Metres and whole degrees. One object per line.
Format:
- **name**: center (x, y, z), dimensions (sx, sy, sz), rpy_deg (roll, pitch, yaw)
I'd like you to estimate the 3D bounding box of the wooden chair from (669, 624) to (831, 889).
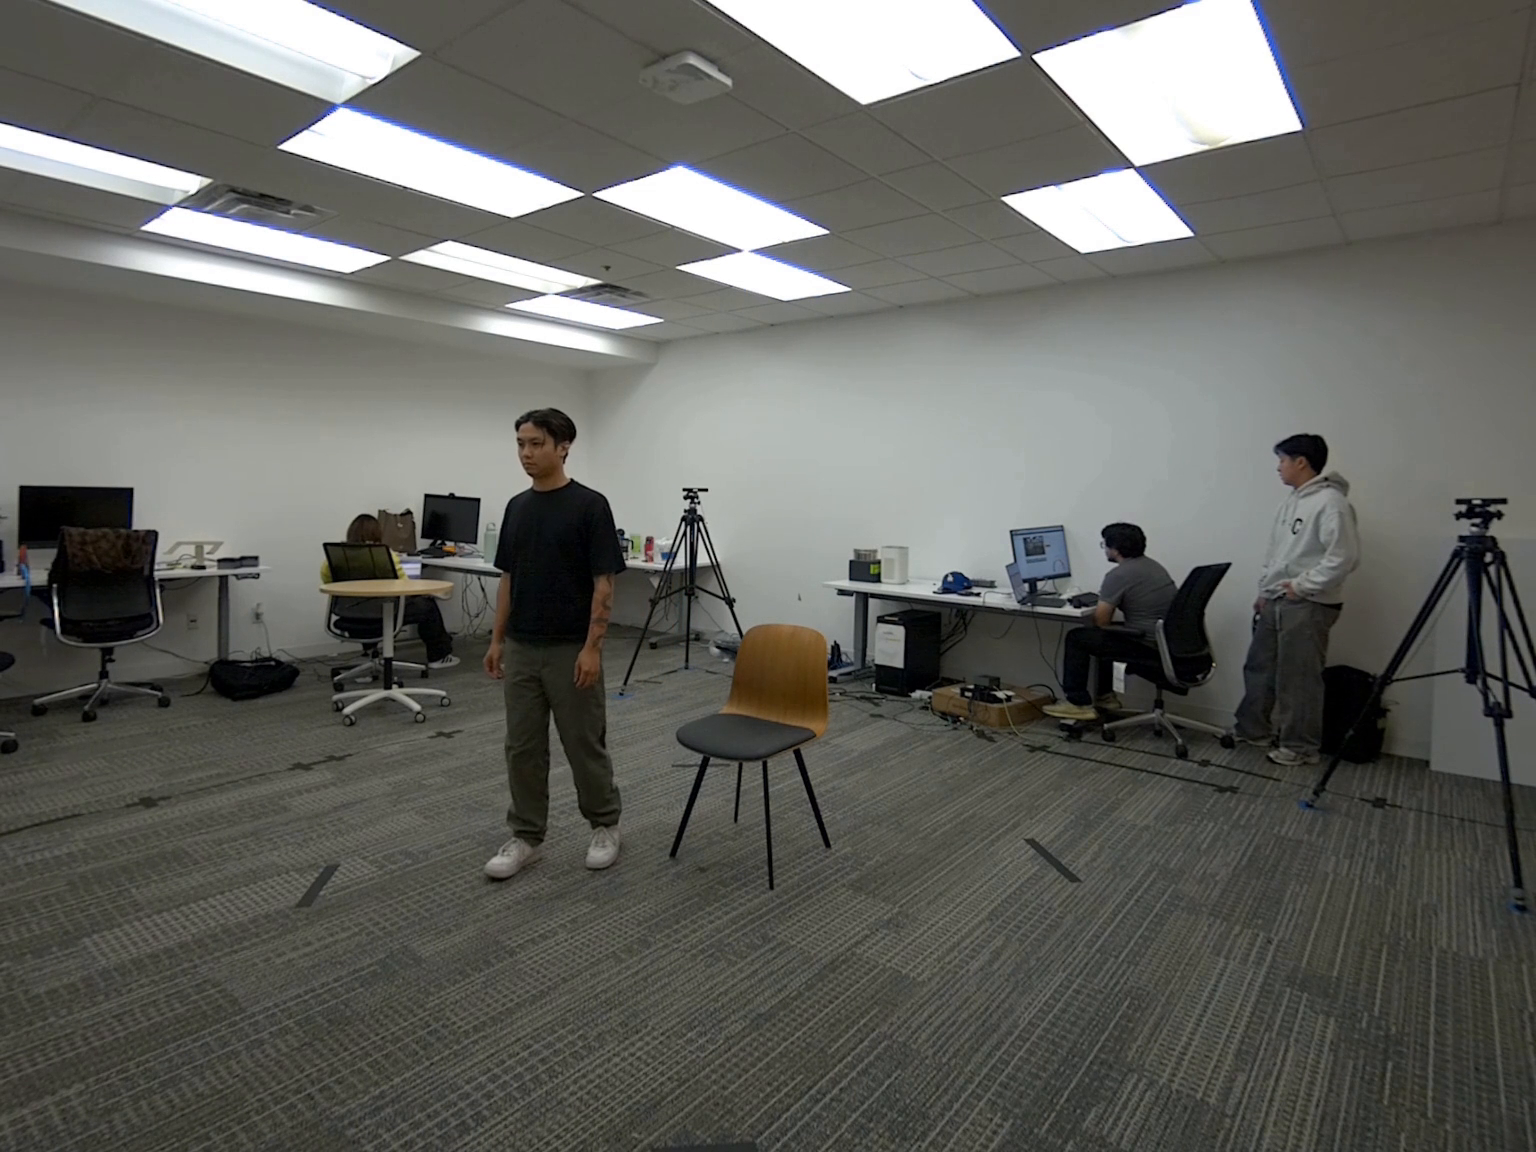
- **wooden chair**: center (-0.062, 0.634, 3.227), dimensions (0.493, 0.877, 0.507), rpy_deg (4, 0, 32)
